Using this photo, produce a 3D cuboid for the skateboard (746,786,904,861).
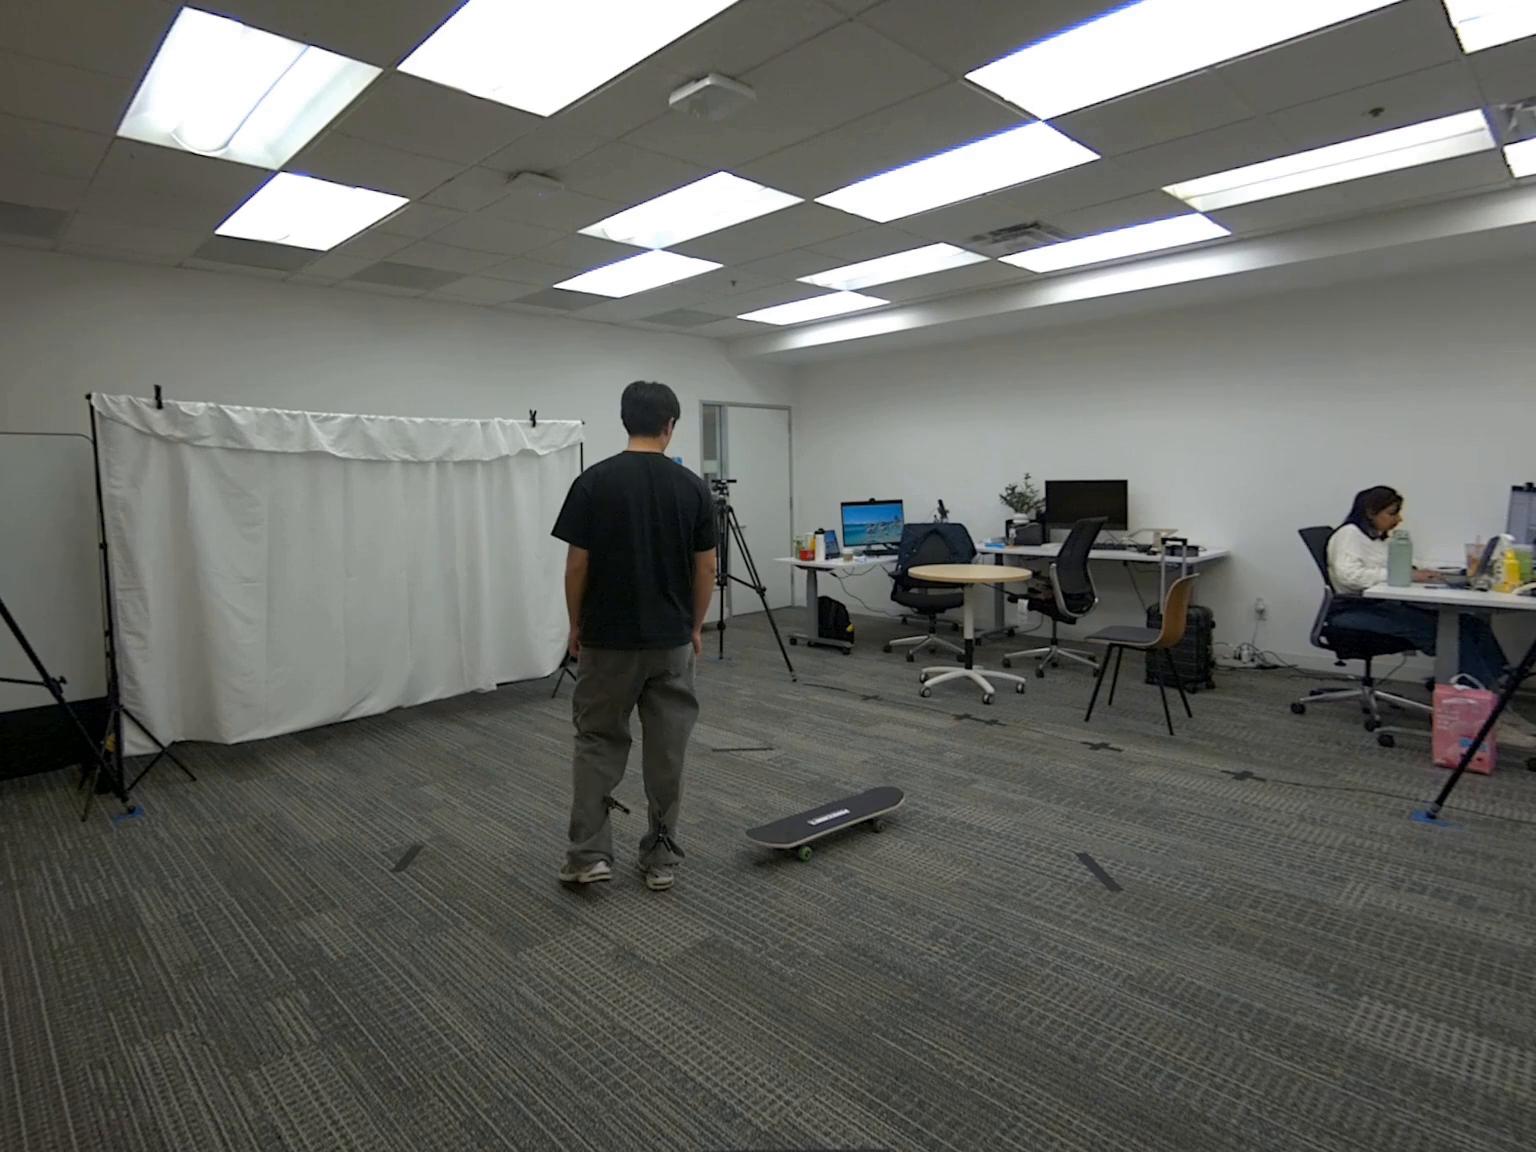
[{"bbox_3d":[0.238,0.961,3.310,0.765,0.110,0.199,-6,7,-38],"label":"skateboard"}]
